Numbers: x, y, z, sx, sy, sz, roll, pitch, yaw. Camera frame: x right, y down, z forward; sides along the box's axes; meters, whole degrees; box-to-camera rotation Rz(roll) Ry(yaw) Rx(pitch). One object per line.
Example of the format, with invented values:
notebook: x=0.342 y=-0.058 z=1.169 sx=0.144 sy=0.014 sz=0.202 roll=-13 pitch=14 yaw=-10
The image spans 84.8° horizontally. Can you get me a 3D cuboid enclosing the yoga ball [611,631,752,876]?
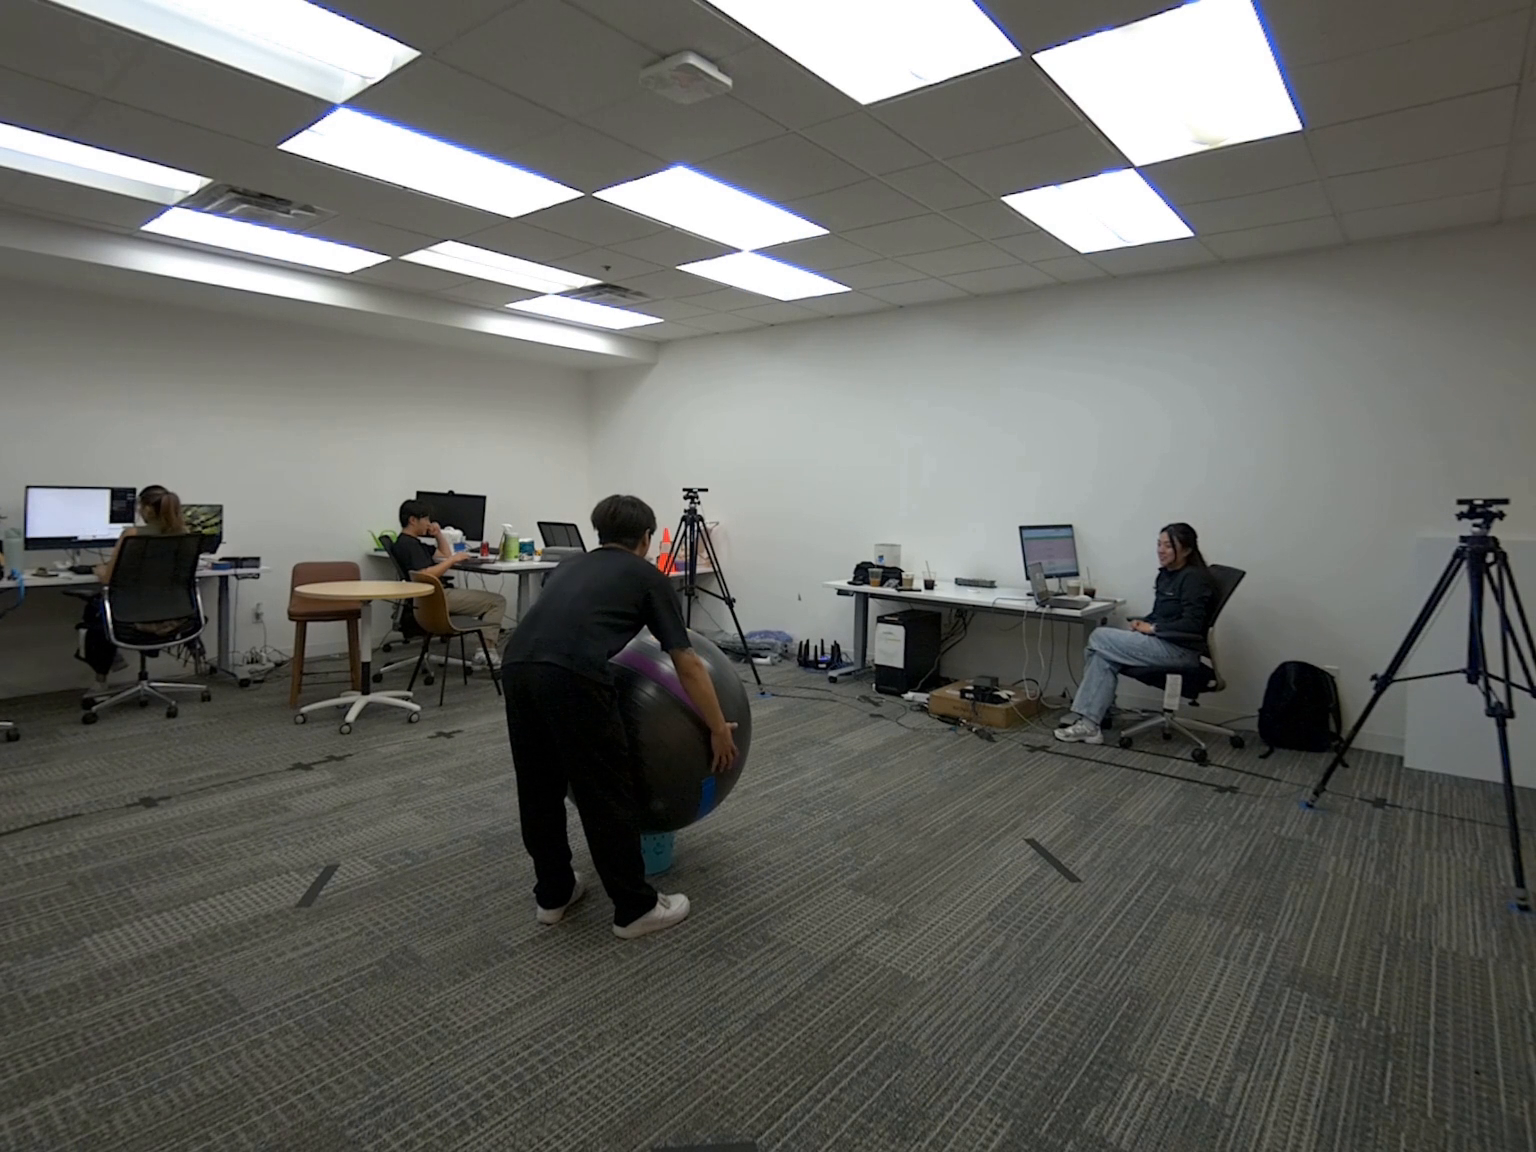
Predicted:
yoga ball: x=-0.447 y=0.548 z=3.136 sx=0.757 sy=0.755 sz=0.762 roll=1 pitch=4 yaw=-2
